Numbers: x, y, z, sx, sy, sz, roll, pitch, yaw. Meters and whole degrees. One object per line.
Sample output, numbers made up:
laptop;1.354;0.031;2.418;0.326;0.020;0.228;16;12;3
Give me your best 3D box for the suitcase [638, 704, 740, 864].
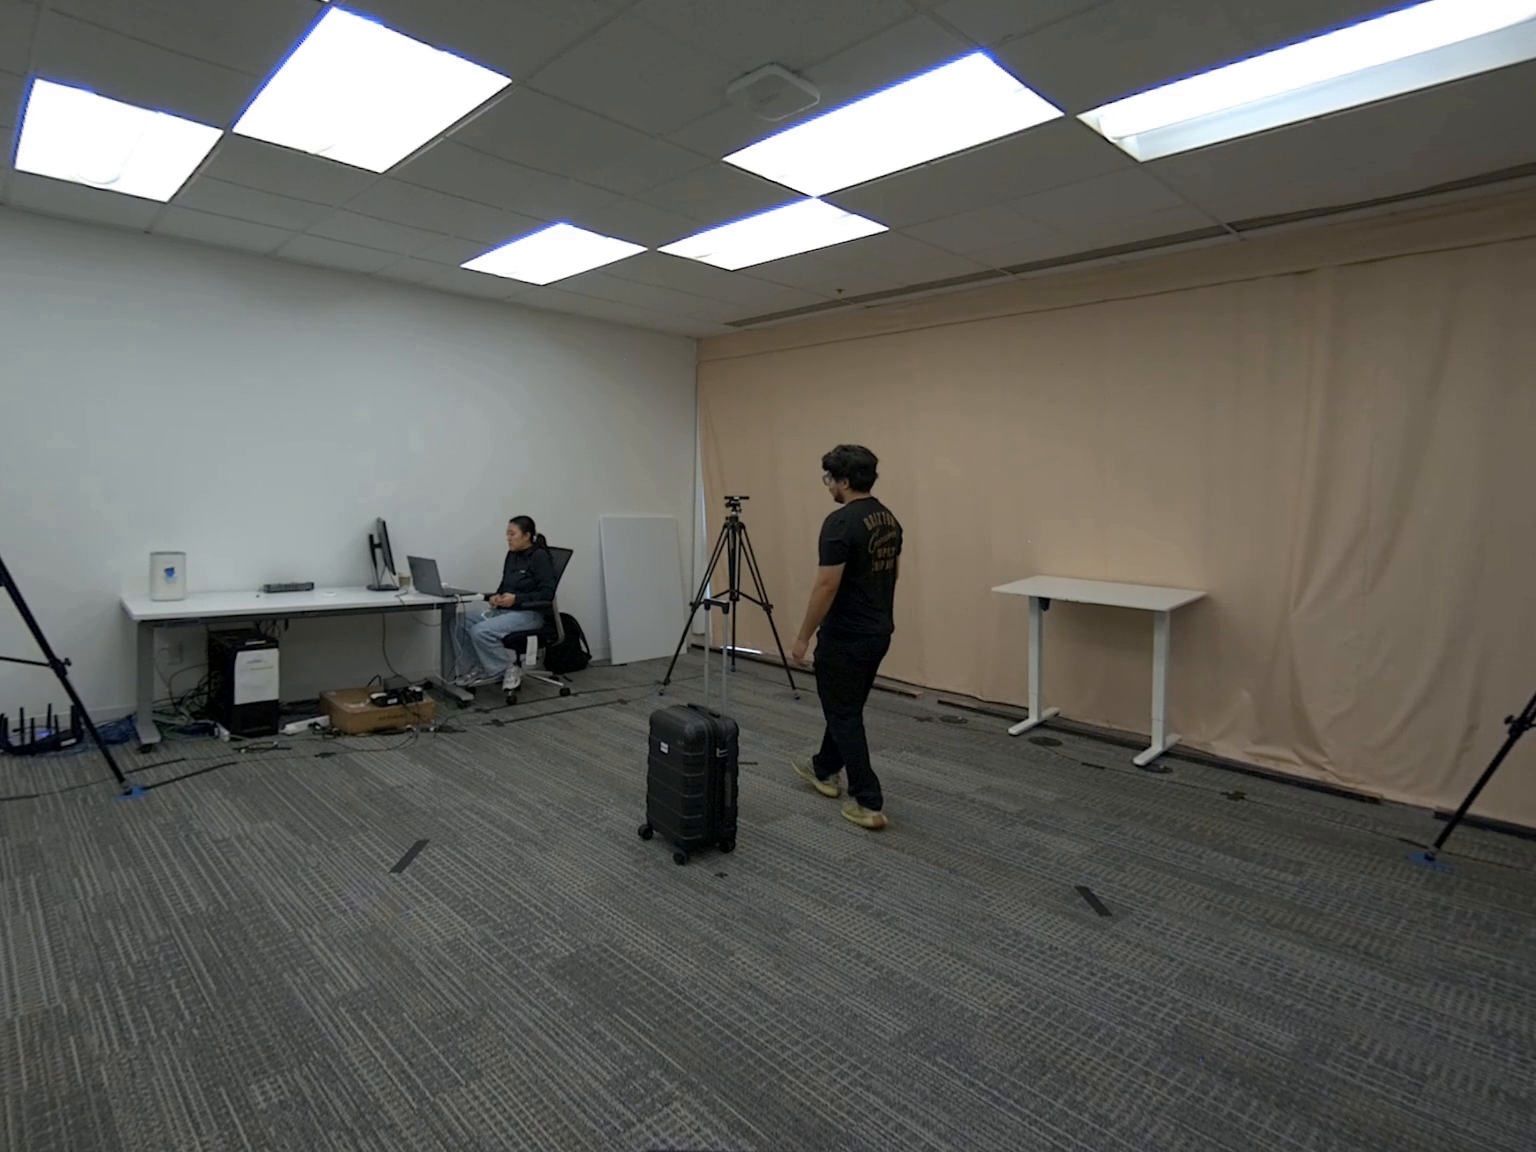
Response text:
suitcase;-0.309;0.600;3.340;0.251;0.977;0.393;0;3;-35
